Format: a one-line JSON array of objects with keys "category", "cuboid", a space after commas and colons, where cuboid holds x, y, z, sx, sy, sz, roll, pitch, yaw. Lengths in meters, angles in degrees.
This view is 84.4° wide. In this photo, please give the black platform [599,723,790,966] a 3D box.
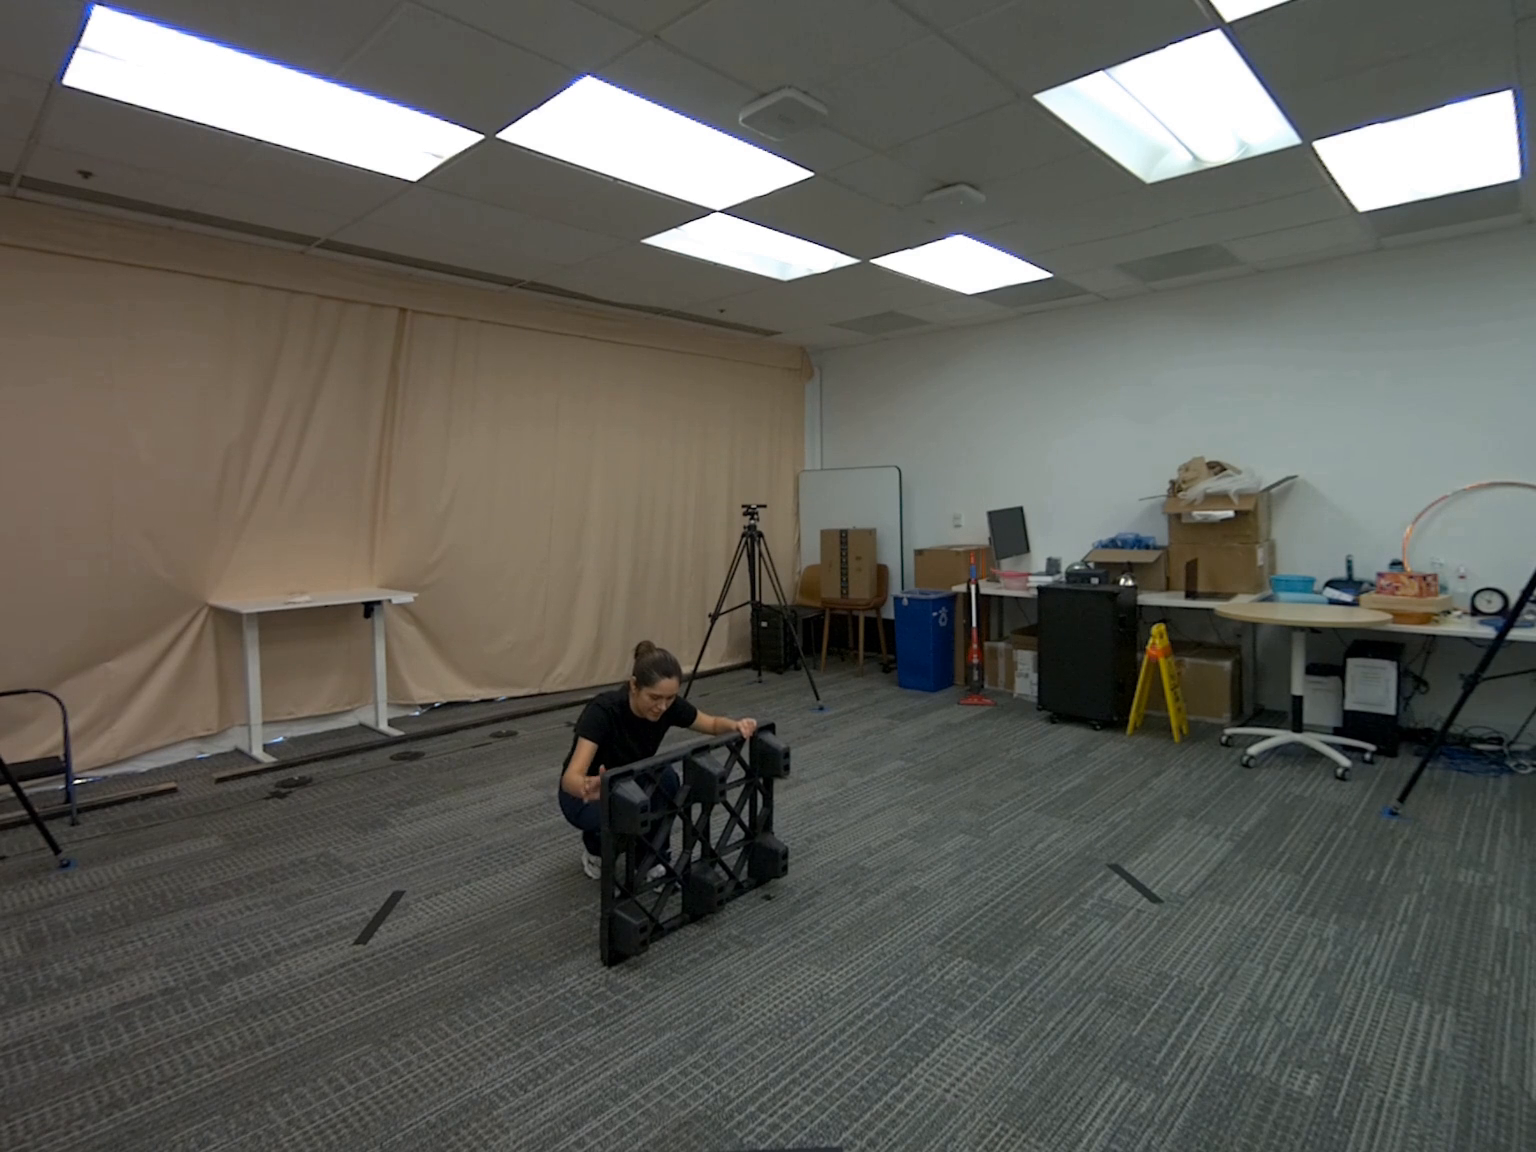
[{"category": "black platform", "cuboid": [-0.190, 0.863, 2.788, 0.148, 0.603, 0.782, 4, 7, 41]}]
